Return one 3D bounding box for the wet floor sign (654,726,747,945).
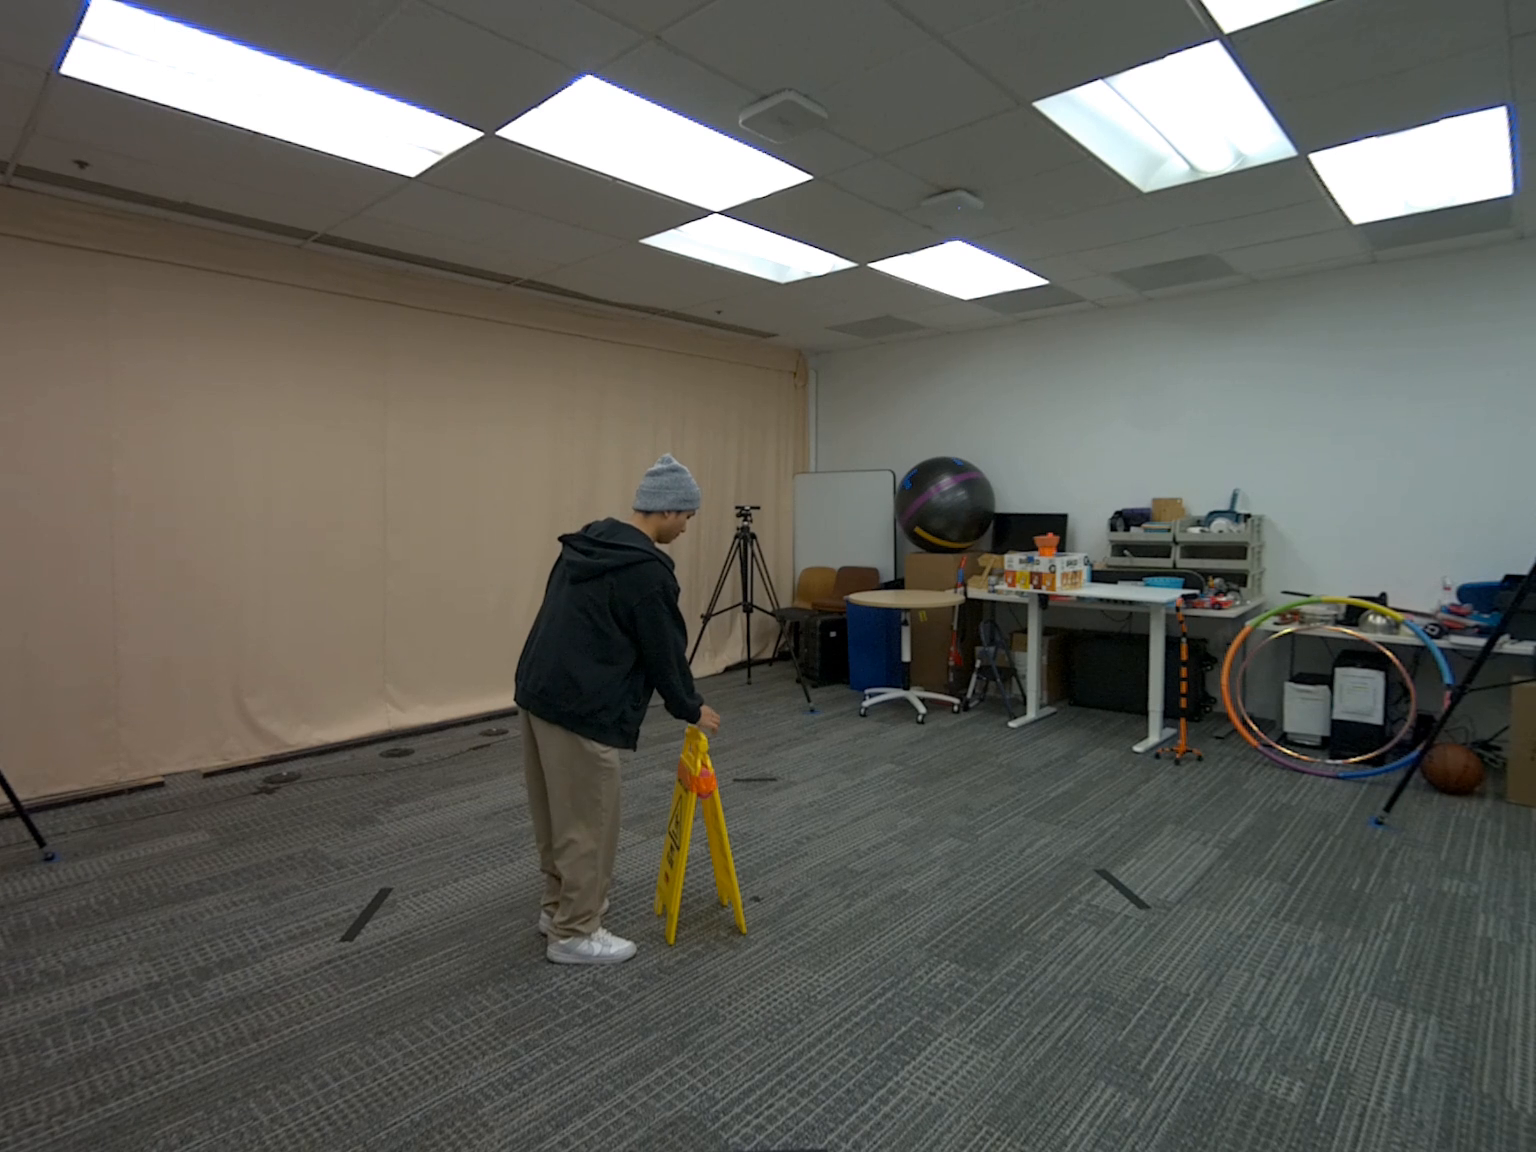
[{"bbox_3d":[-0.236,0.833,2.806,0.285,0.645,0.287,0,2,-17],"label":"wet floor sign"}]
